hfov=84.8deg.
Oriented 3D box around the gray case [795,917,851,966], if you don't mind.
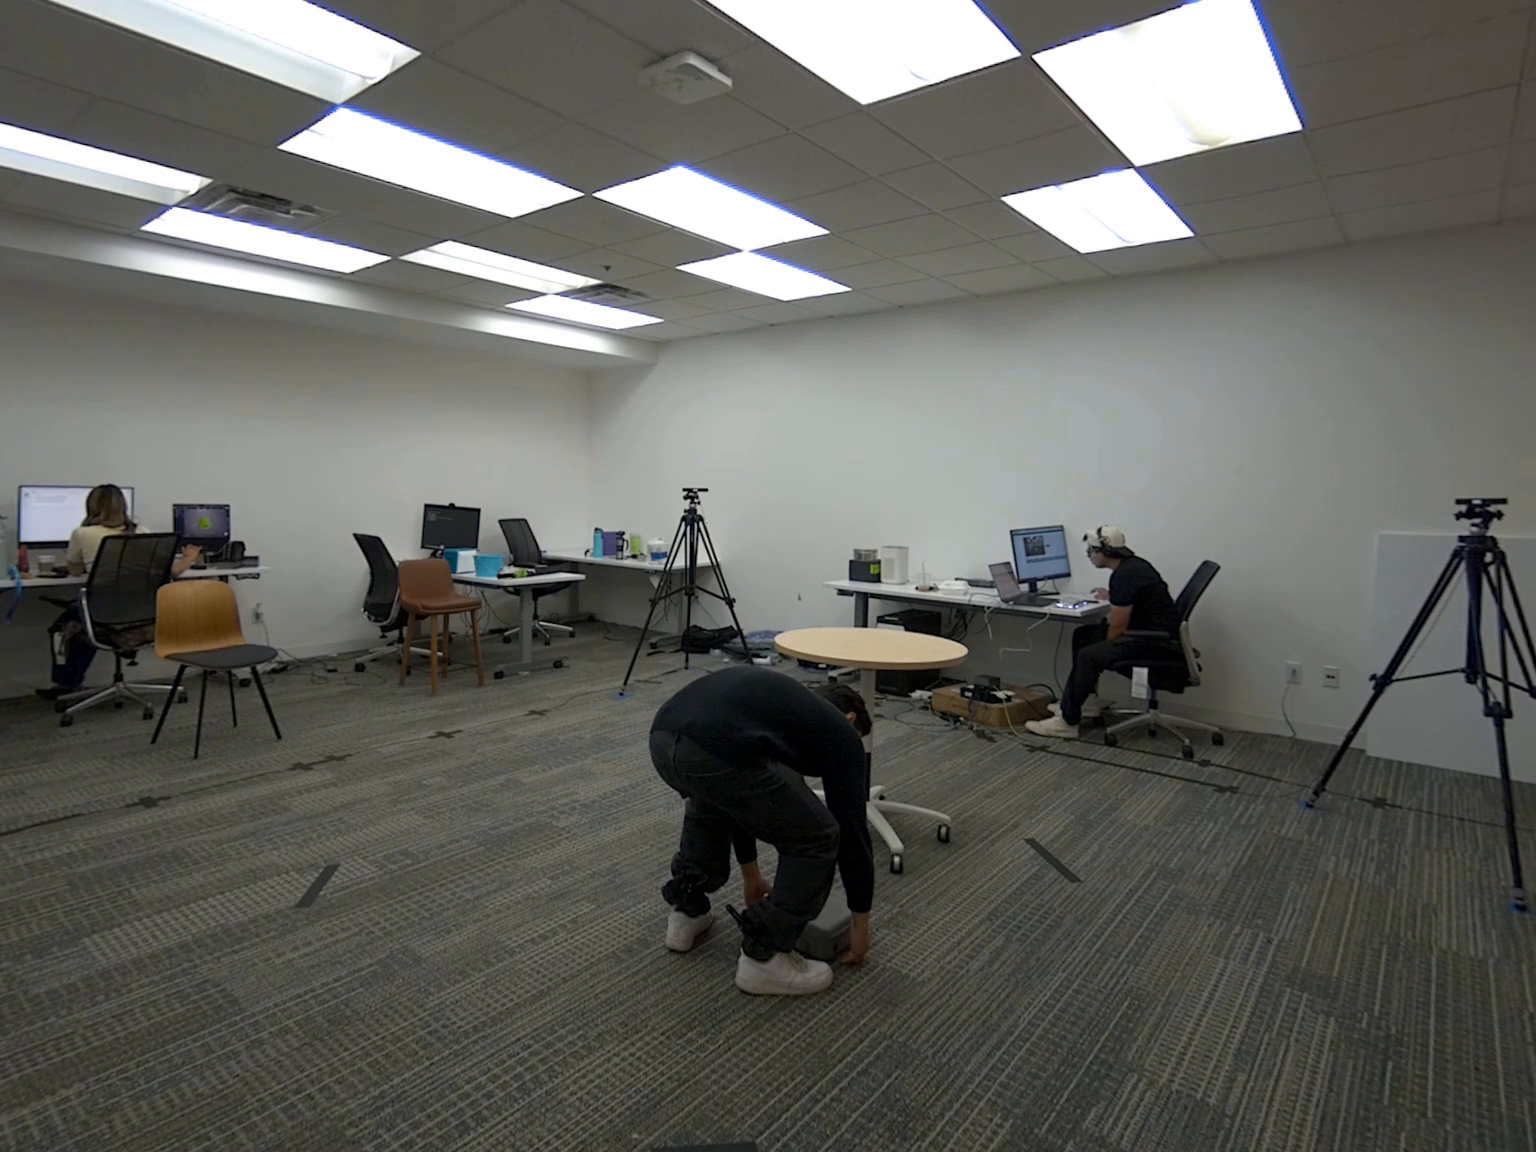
[{"bbox_3d":[0.140,1.064,2.653,0.266,0.104,0.253,7,8,36],"label":"gray case"}]
